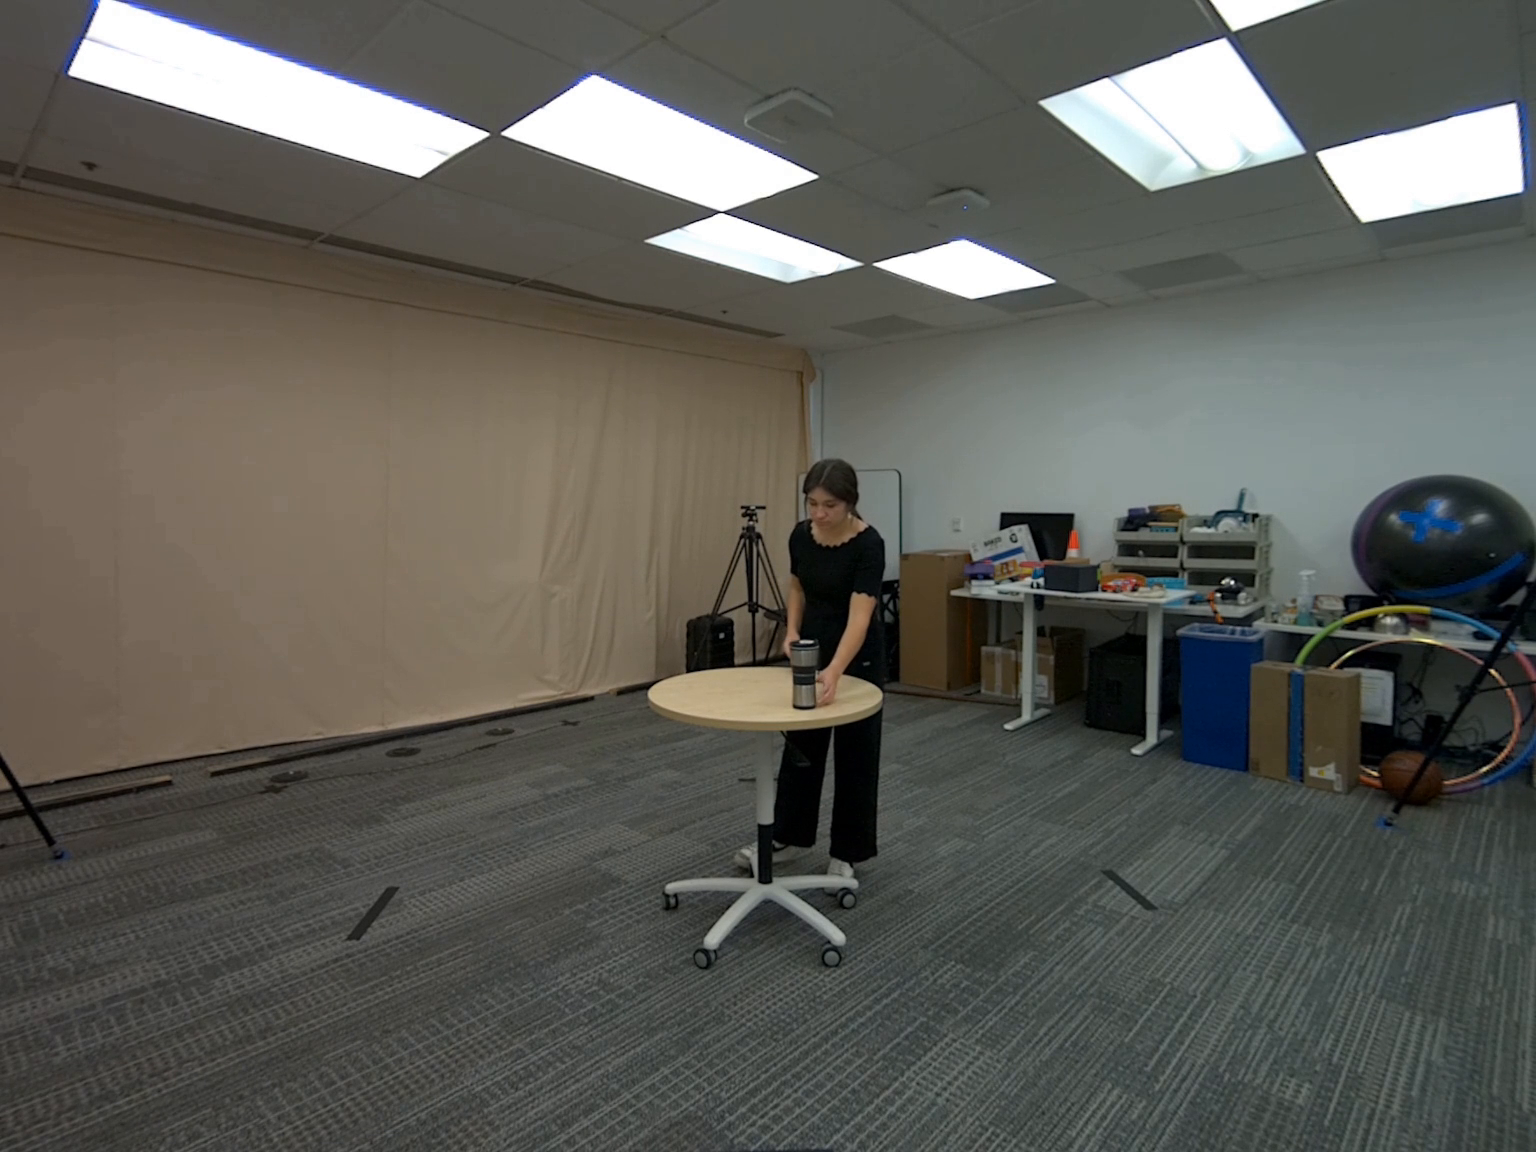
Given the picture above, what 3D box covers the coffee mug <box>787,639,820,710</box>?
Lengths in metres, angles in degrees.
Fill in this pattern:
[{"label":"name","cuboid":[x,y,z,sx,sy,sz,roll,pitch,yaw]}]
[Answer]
[{"label":"coffee mug","cuboid":[0.135,0.295,2.559,0.119,0.203,0.090,-6,0,-31]}]
